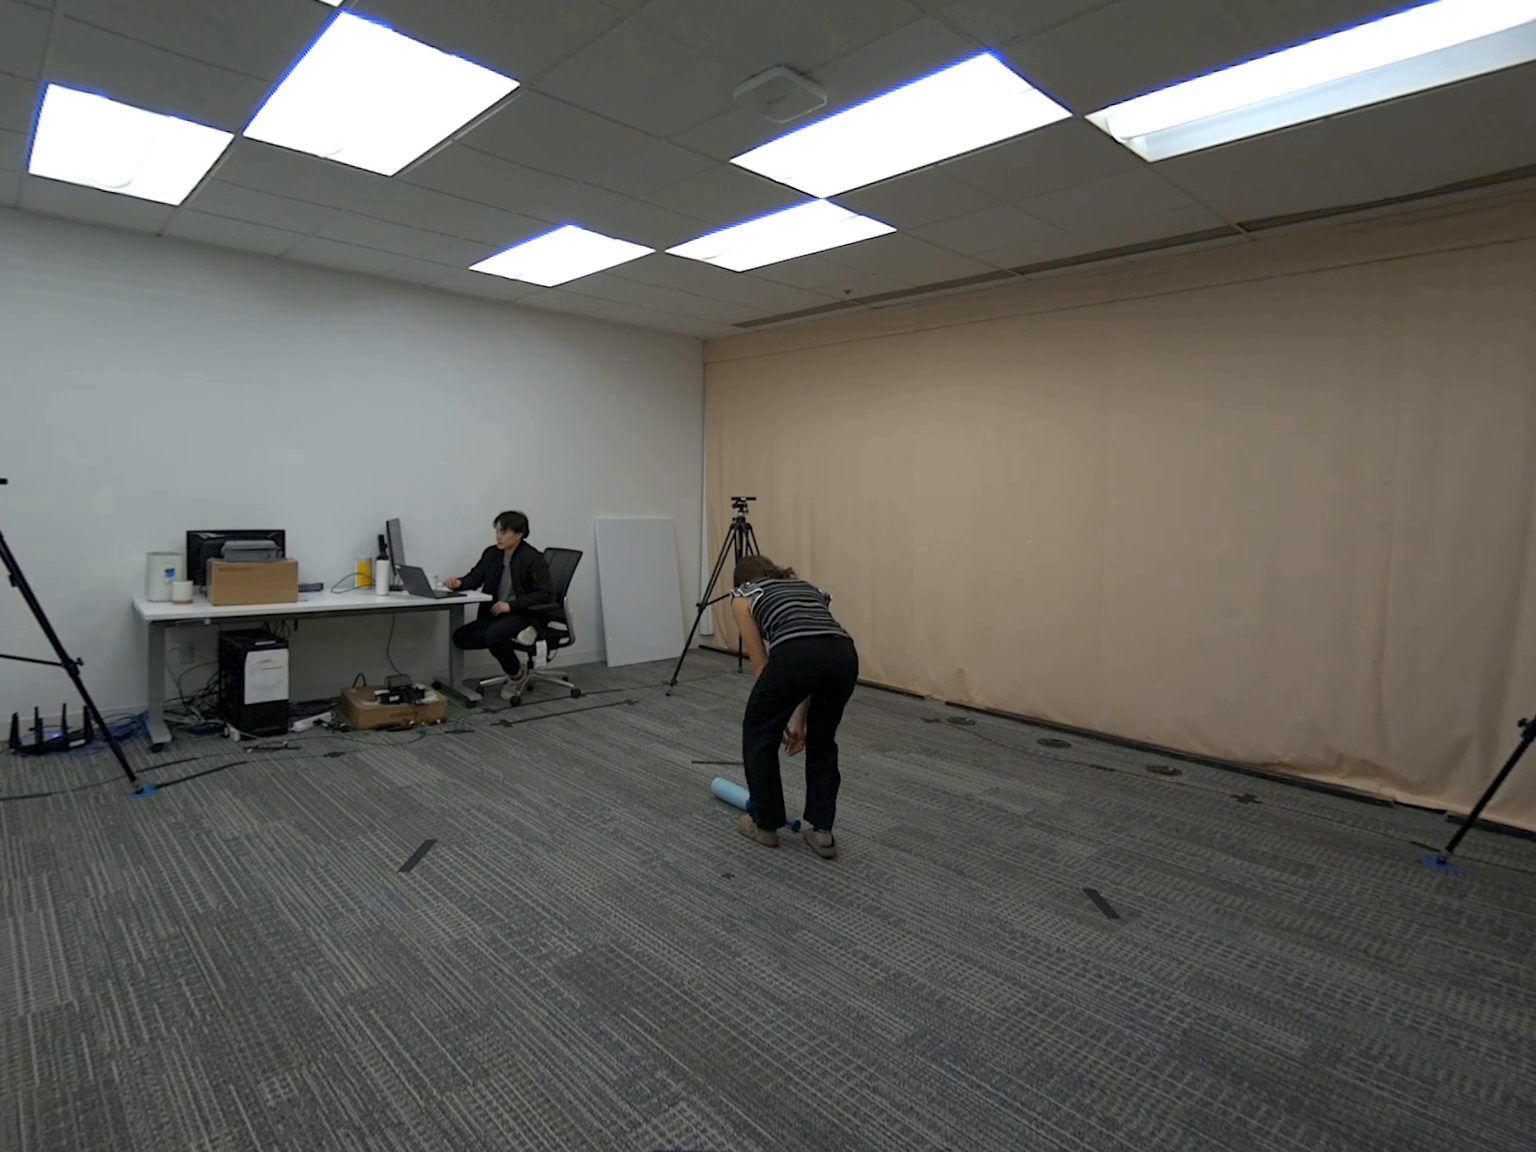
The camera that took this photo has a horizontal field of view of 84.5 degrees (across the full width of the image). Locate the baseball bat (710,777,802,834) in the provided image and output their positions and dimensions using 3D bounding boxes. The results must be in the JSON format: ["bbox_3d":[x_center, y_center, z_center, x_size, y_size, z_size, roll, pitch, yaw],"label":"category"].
[{"bbox_3d":[-0.068,1.019,3.741,0.087,0.088,0.558,-2,10,-41],"label":"baseball bat"}]
